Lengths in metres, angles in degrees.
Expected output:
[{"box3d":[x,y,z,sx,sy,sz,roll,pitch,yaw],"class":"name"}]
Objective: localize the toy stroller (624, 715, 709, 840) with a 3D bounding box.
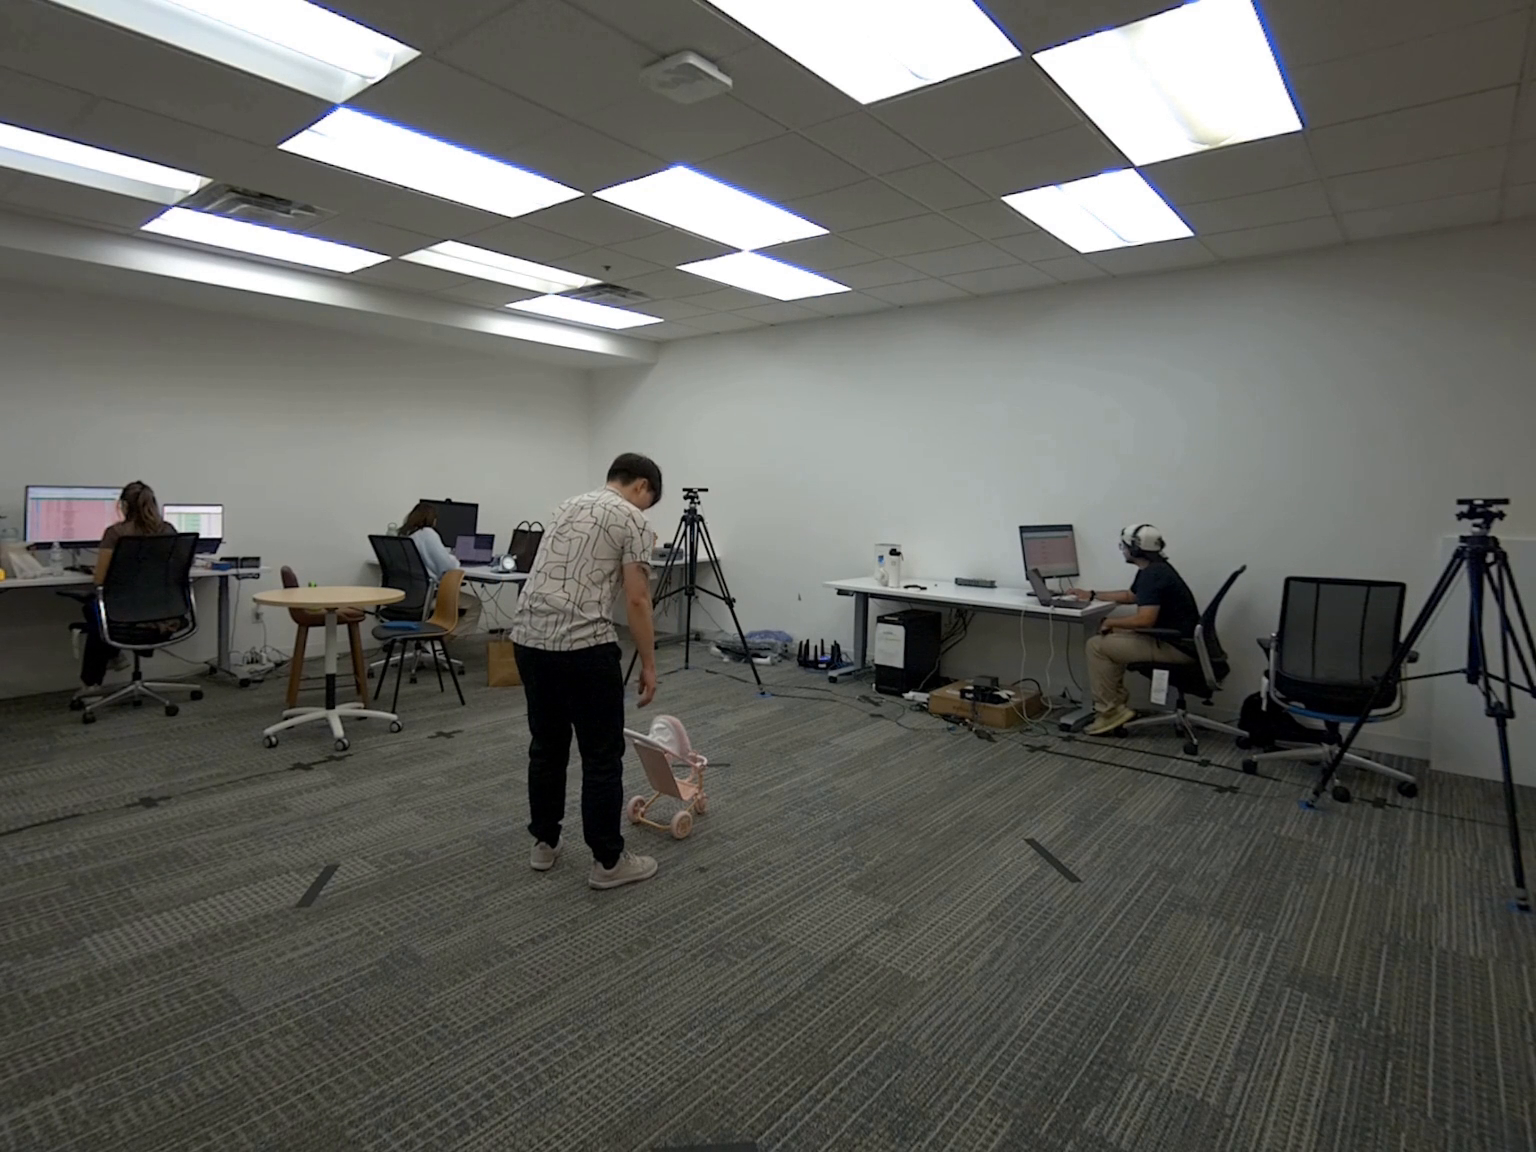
[{"box3d":[-0.412,0.802,3.497,0.291,0.526,0.335,4,21,42],"class":"toy stroller"}]
